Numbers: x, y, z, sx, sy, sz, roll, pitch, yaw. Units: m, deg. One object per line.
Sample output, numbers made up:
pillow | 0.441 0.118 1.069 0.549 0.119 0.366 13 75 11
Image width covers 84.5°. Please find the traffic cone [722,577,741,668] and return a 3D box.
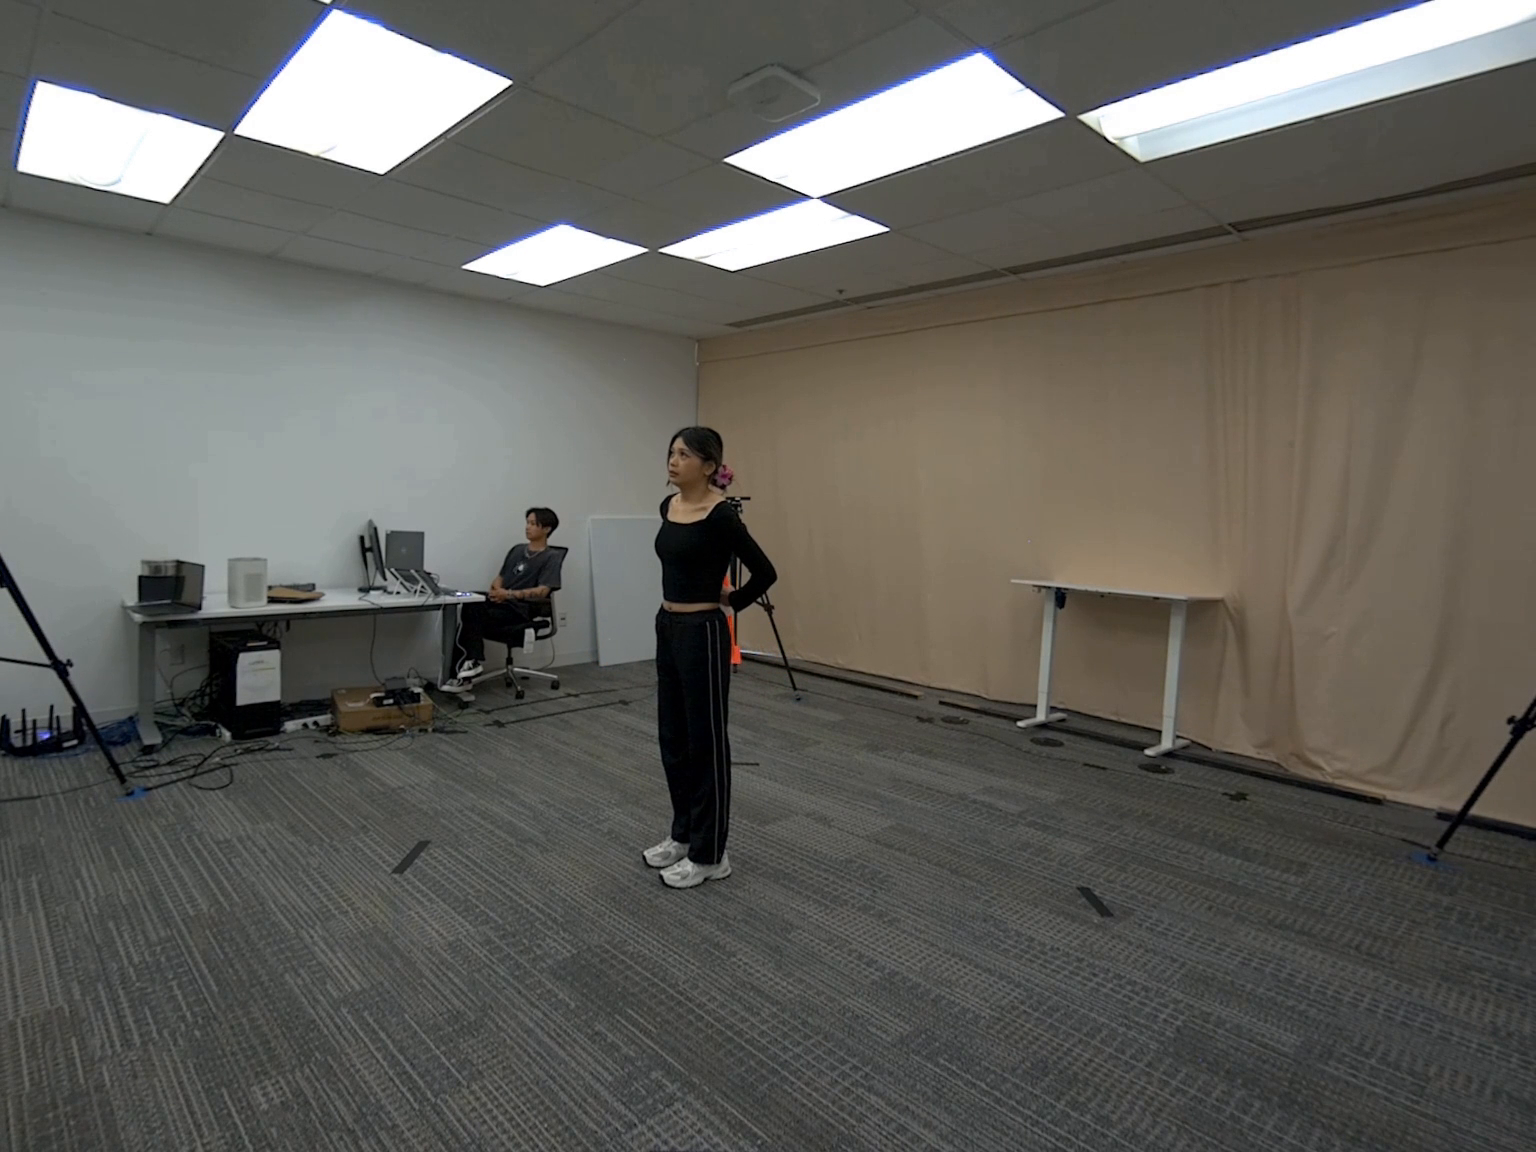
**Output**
traffic cone | -0.196 0.127 3.321 0.203 0.381 0.206 6 9 -1
